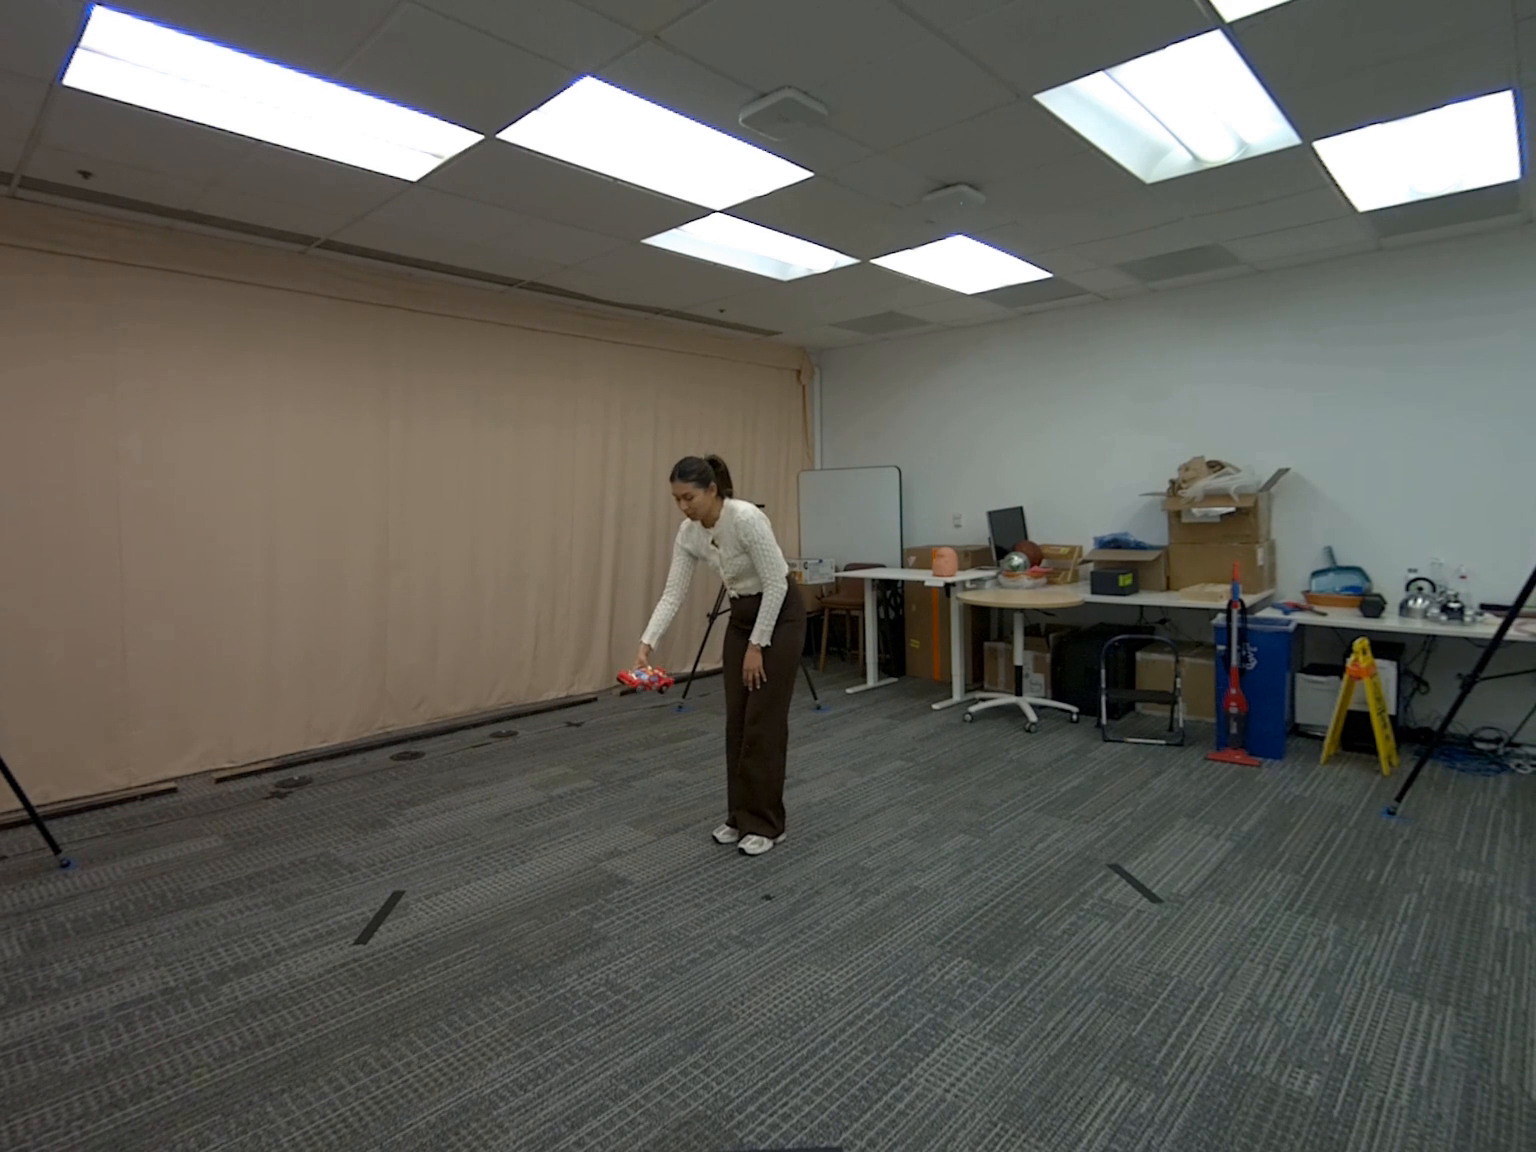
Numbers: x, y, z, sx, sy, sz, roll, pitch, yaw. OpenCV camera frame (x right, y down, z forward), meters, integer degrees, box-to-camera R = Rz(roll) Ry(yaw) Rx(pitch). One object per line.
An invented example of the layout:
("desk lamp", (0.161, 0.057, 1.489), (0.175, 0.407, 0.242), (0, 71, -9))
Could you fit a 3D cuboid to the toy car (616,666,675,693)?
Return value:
("toy car", (-0.472, 0.413, 3.279), (0.135, 0.083, 0.247), (25, 17, 35))
